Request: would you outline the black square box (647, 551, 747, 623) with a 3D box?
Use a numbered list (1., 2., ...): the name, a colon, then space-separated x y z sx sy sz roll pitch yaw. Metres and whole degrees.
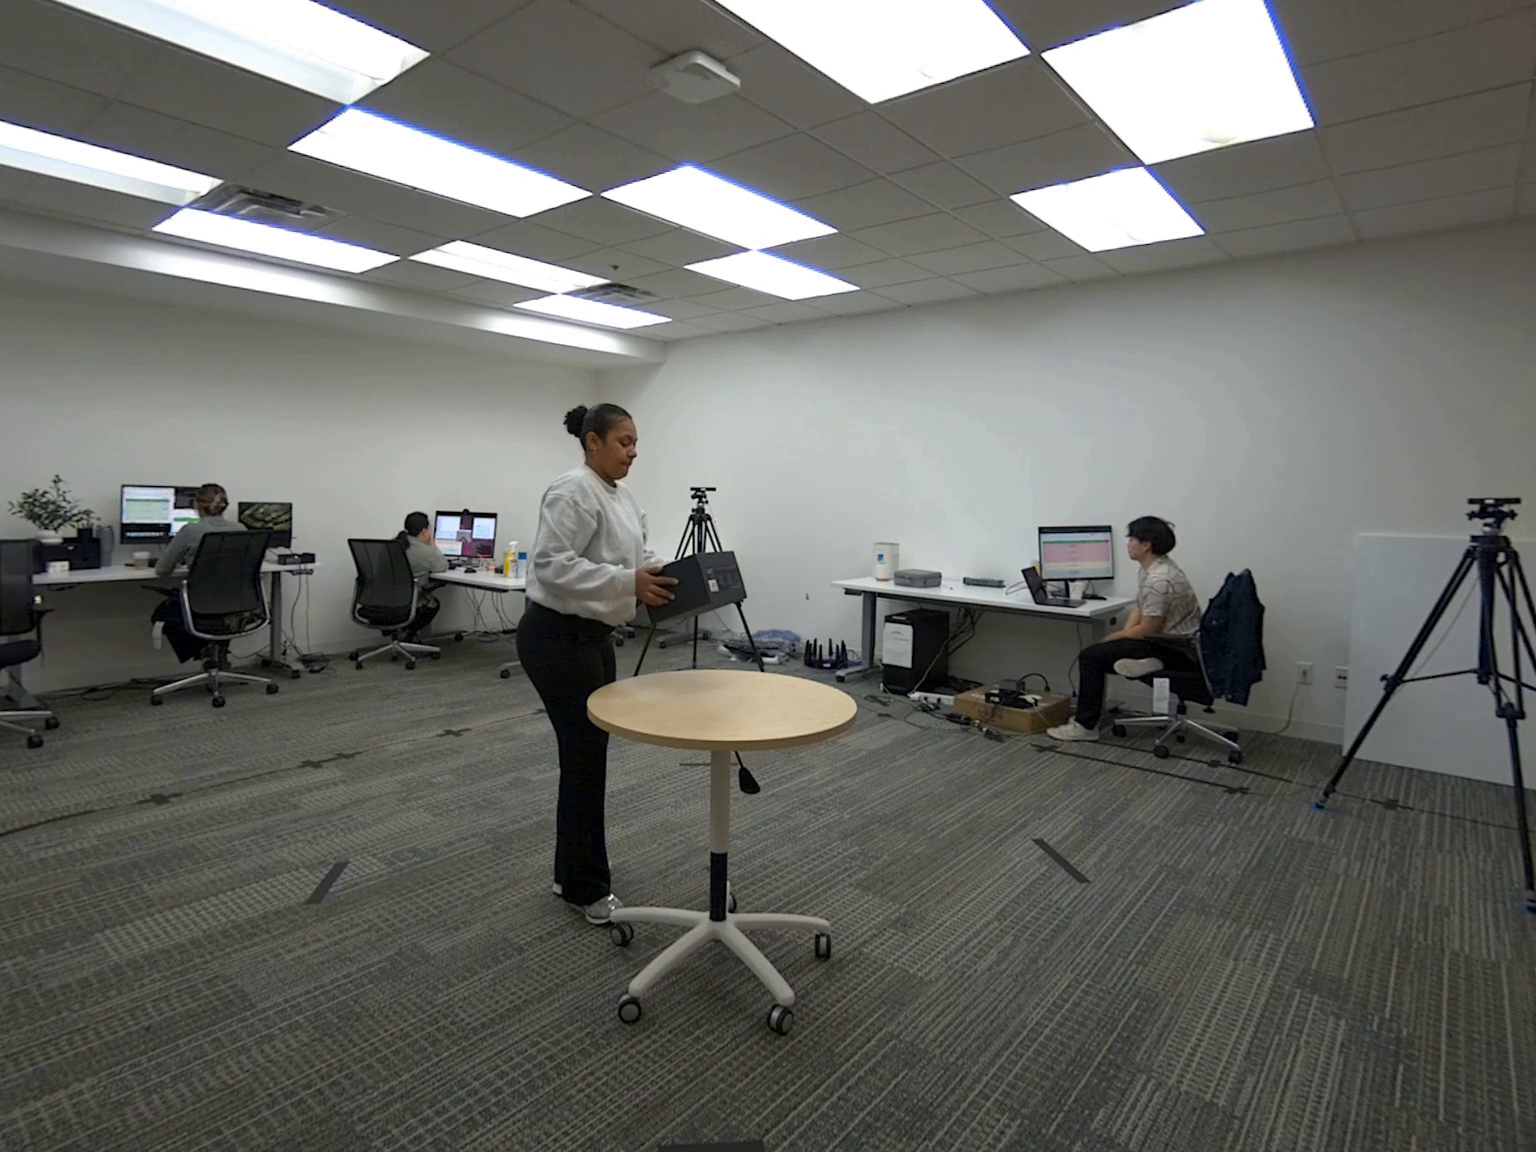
1. black square box: -0.234 0.037 2.620 0.232 0.157 0.211 -20 -8 31
